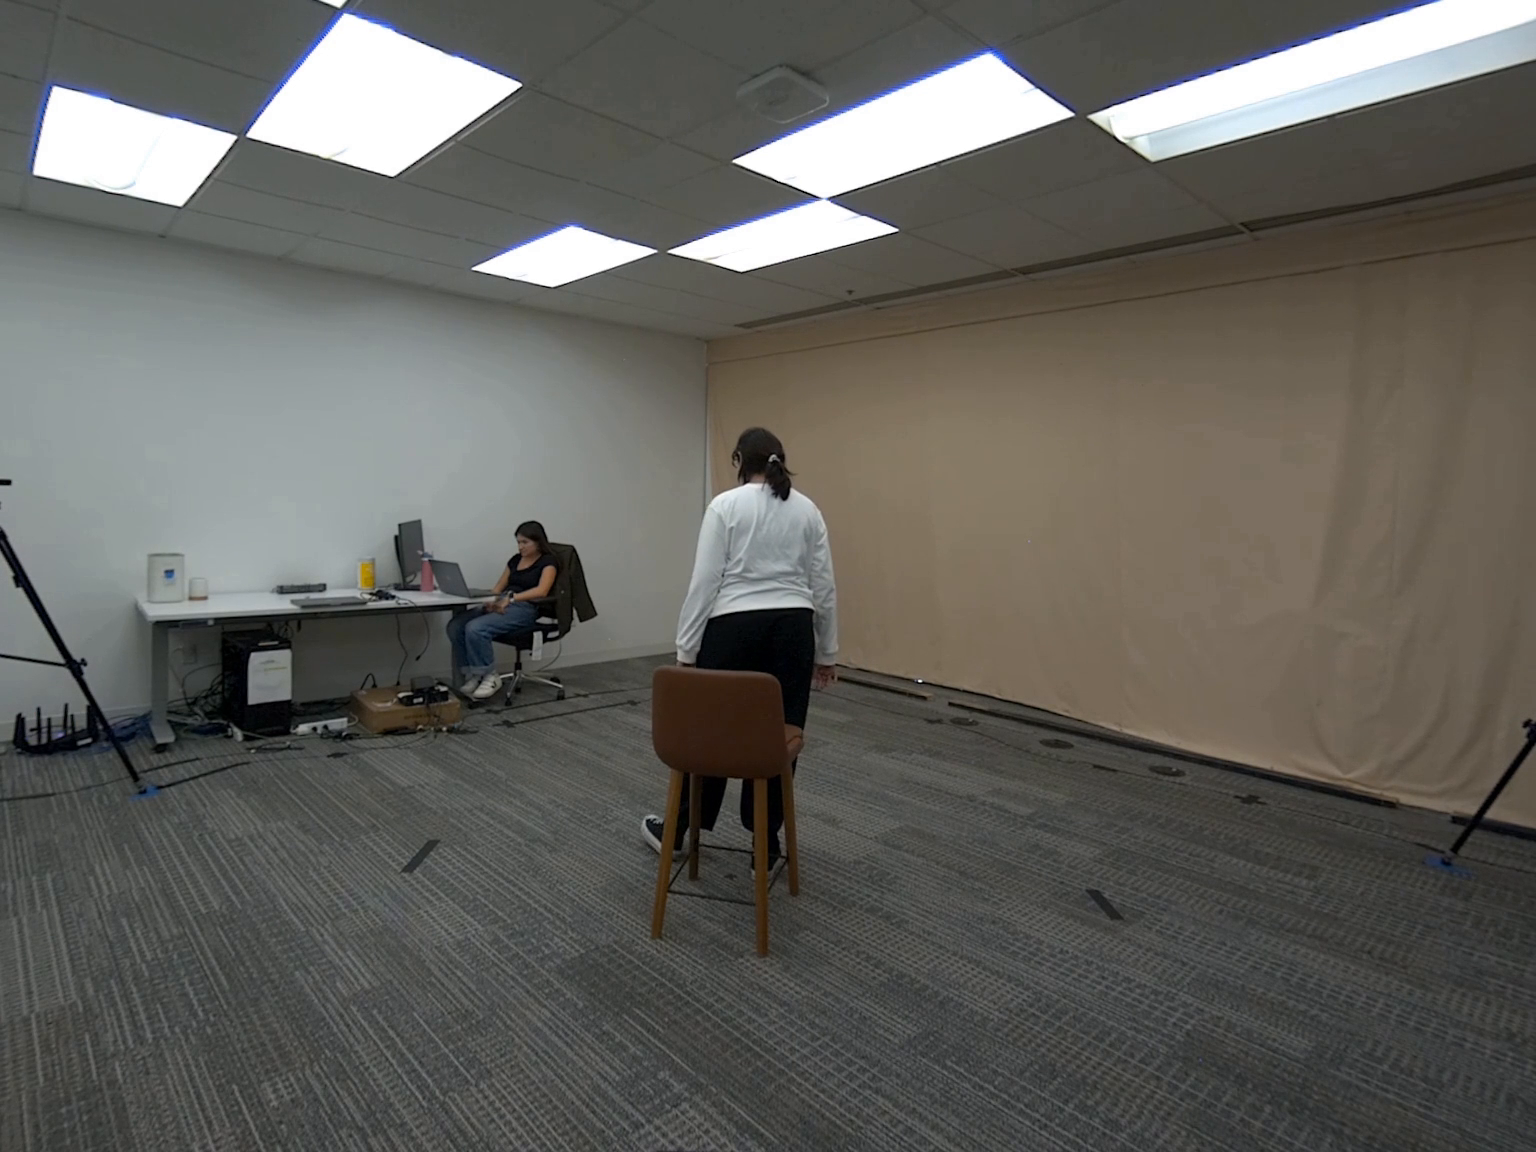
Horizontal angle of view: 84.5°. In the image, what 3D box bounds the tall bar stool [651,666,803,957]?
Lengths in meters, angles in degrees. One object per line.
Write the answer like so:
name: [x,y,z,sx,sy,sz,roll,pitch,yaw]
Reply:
tall bar stool: [-0.140,0.703,2.785,0.462,0.886,0.463,2,5,15]
